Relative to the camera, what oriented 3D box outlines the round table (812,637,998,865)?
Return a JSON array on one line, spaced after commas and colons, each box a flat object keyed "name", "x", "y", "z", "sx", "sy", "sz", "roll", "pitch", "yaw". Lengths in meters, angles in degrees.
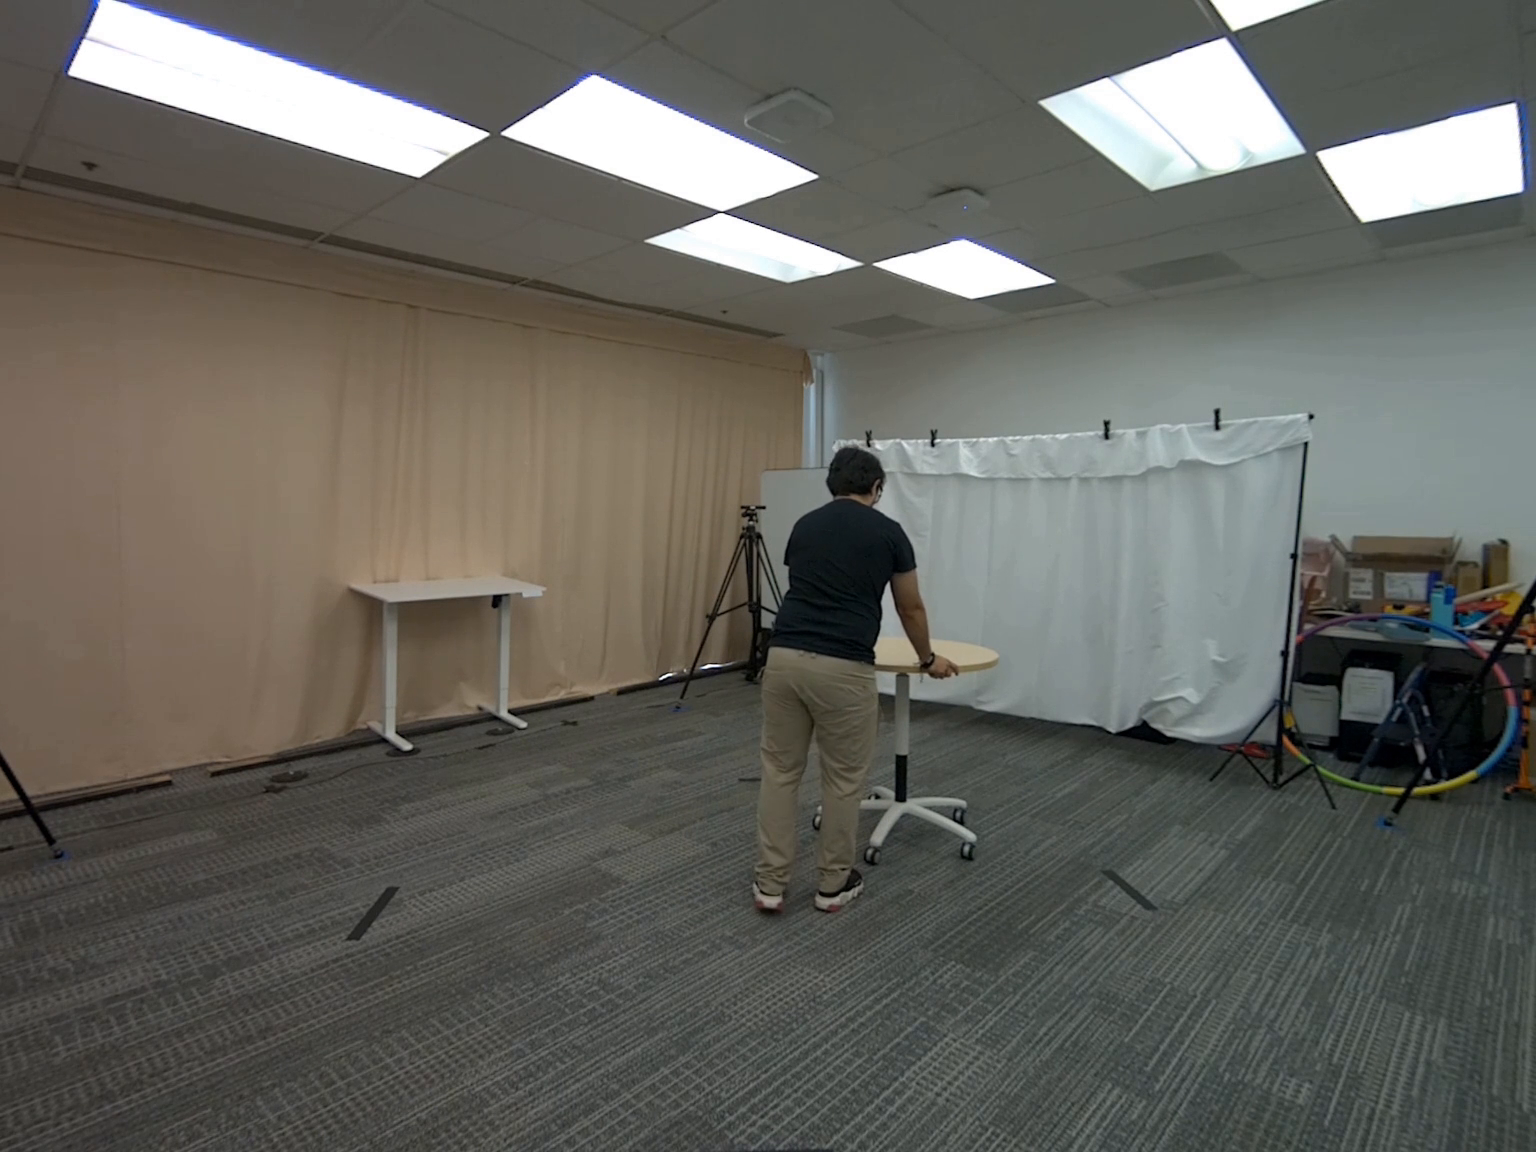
[{"name": "round table", "x": 0.554, "y": 0.697, "z": 3.561, "sx": 0.784, "sy": 0.785, "sz": 0.788, "roll": 1, "pitch": 3, "yaw": -2}]
